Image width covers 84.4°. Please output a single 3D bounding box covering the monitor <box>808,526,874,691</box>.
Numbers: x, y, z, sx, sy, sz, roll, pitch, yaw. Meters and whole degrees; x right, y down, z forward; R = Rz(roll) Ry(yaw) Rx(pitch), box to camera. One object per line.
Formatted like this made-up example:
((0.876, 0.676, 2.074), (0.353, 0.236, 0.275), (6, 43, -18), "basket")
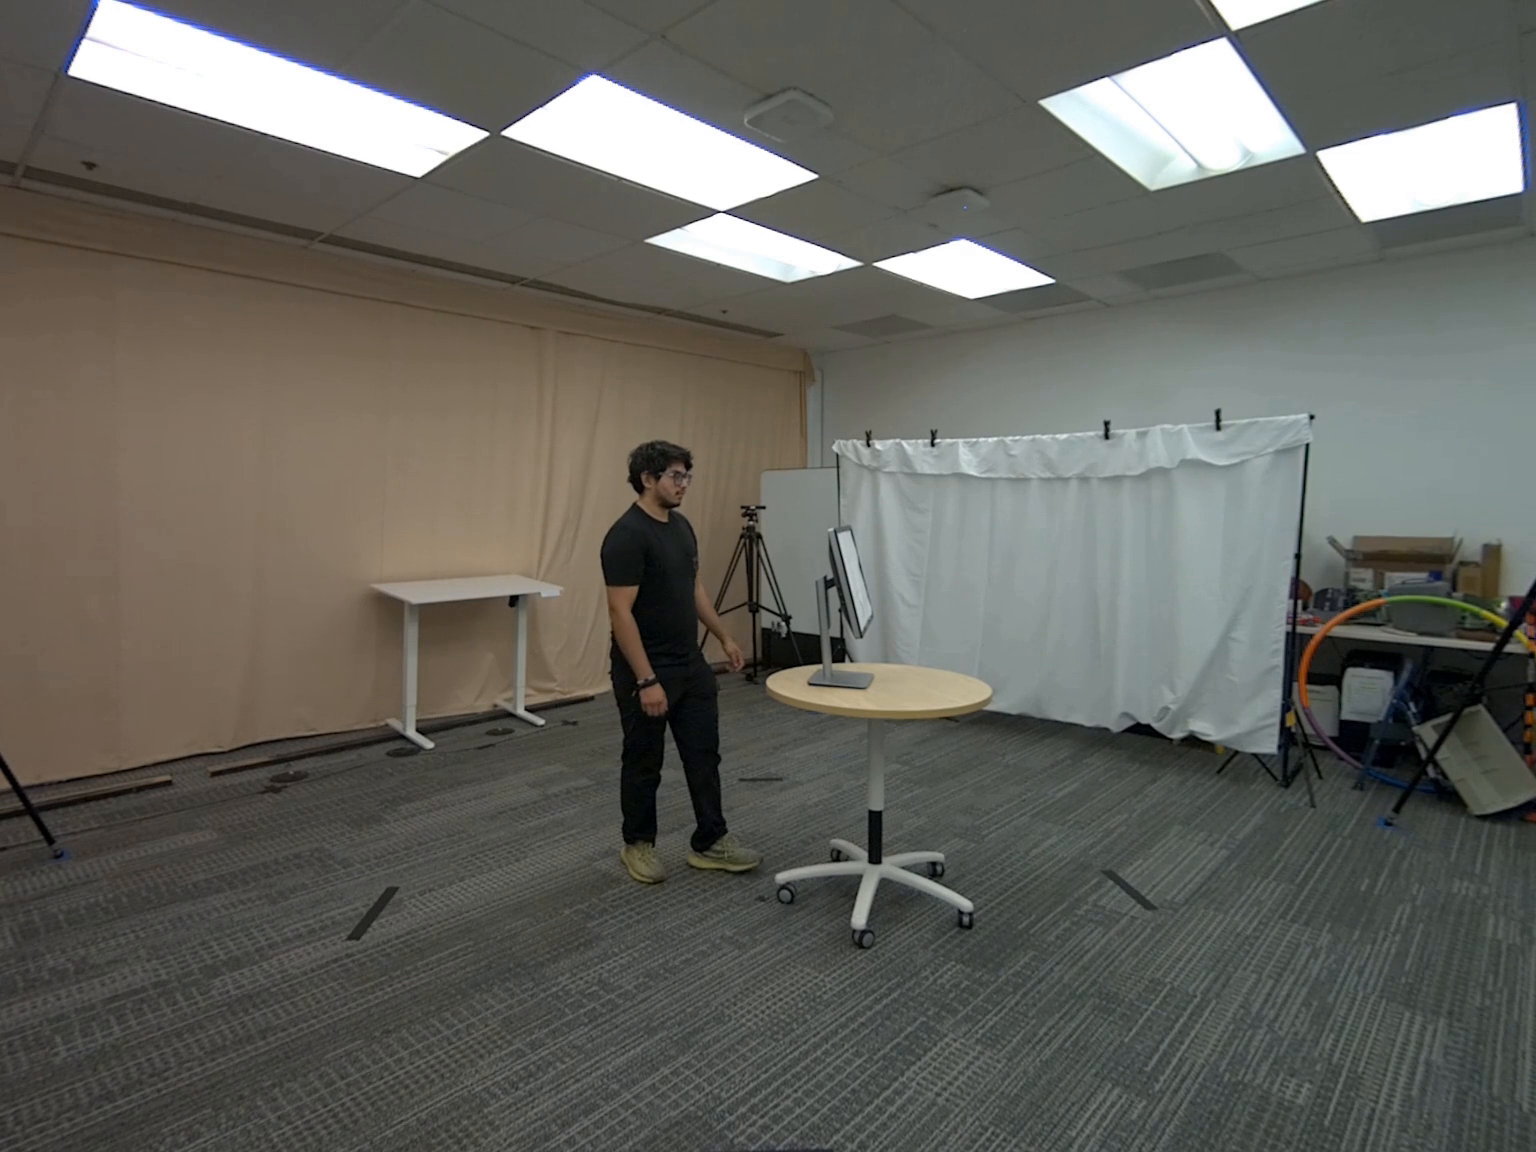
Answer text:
((0.243, 0.104, 2.968), (0.213, 0.553, 0.558), (-5, 3, 13), "monitor")
